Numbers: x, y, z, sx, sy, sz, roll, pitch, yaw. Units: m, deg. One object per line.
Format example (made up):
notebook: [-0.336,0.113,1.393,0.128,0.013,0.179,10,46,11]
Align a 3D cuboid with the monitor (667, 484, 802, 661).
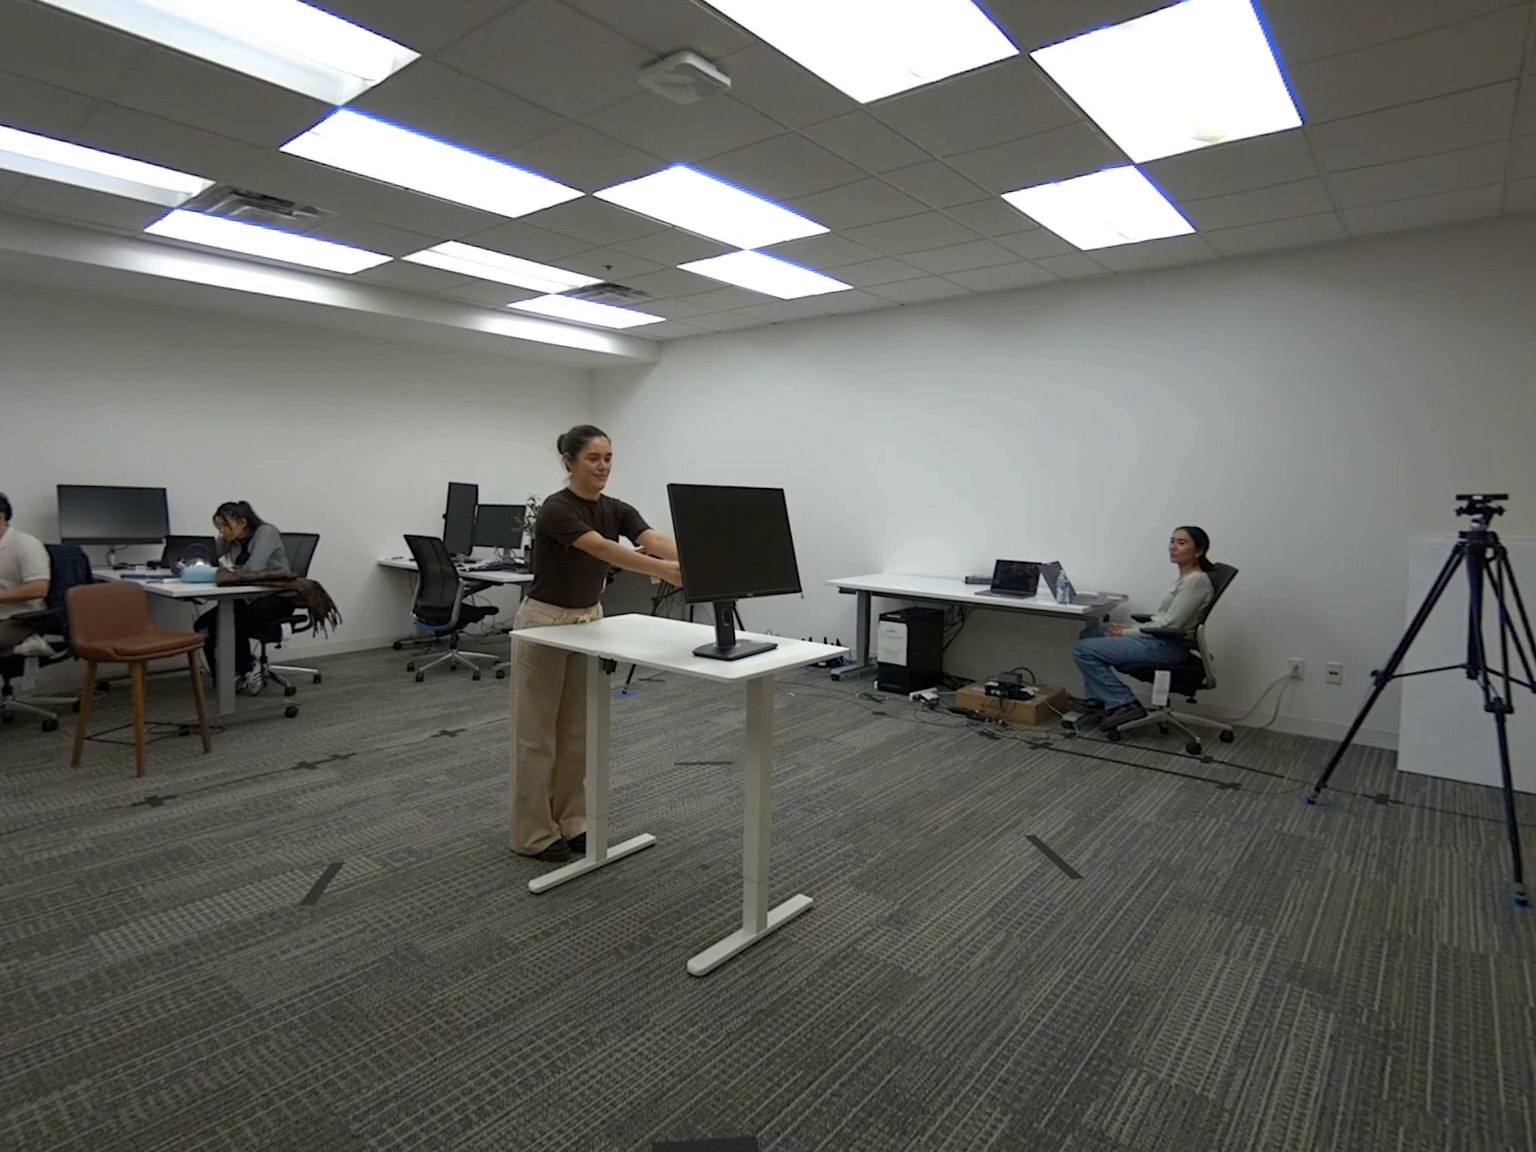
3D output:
monitor: [-0.117,-0.018,2.637,0.193,0.522,0.523,0,2,38]
